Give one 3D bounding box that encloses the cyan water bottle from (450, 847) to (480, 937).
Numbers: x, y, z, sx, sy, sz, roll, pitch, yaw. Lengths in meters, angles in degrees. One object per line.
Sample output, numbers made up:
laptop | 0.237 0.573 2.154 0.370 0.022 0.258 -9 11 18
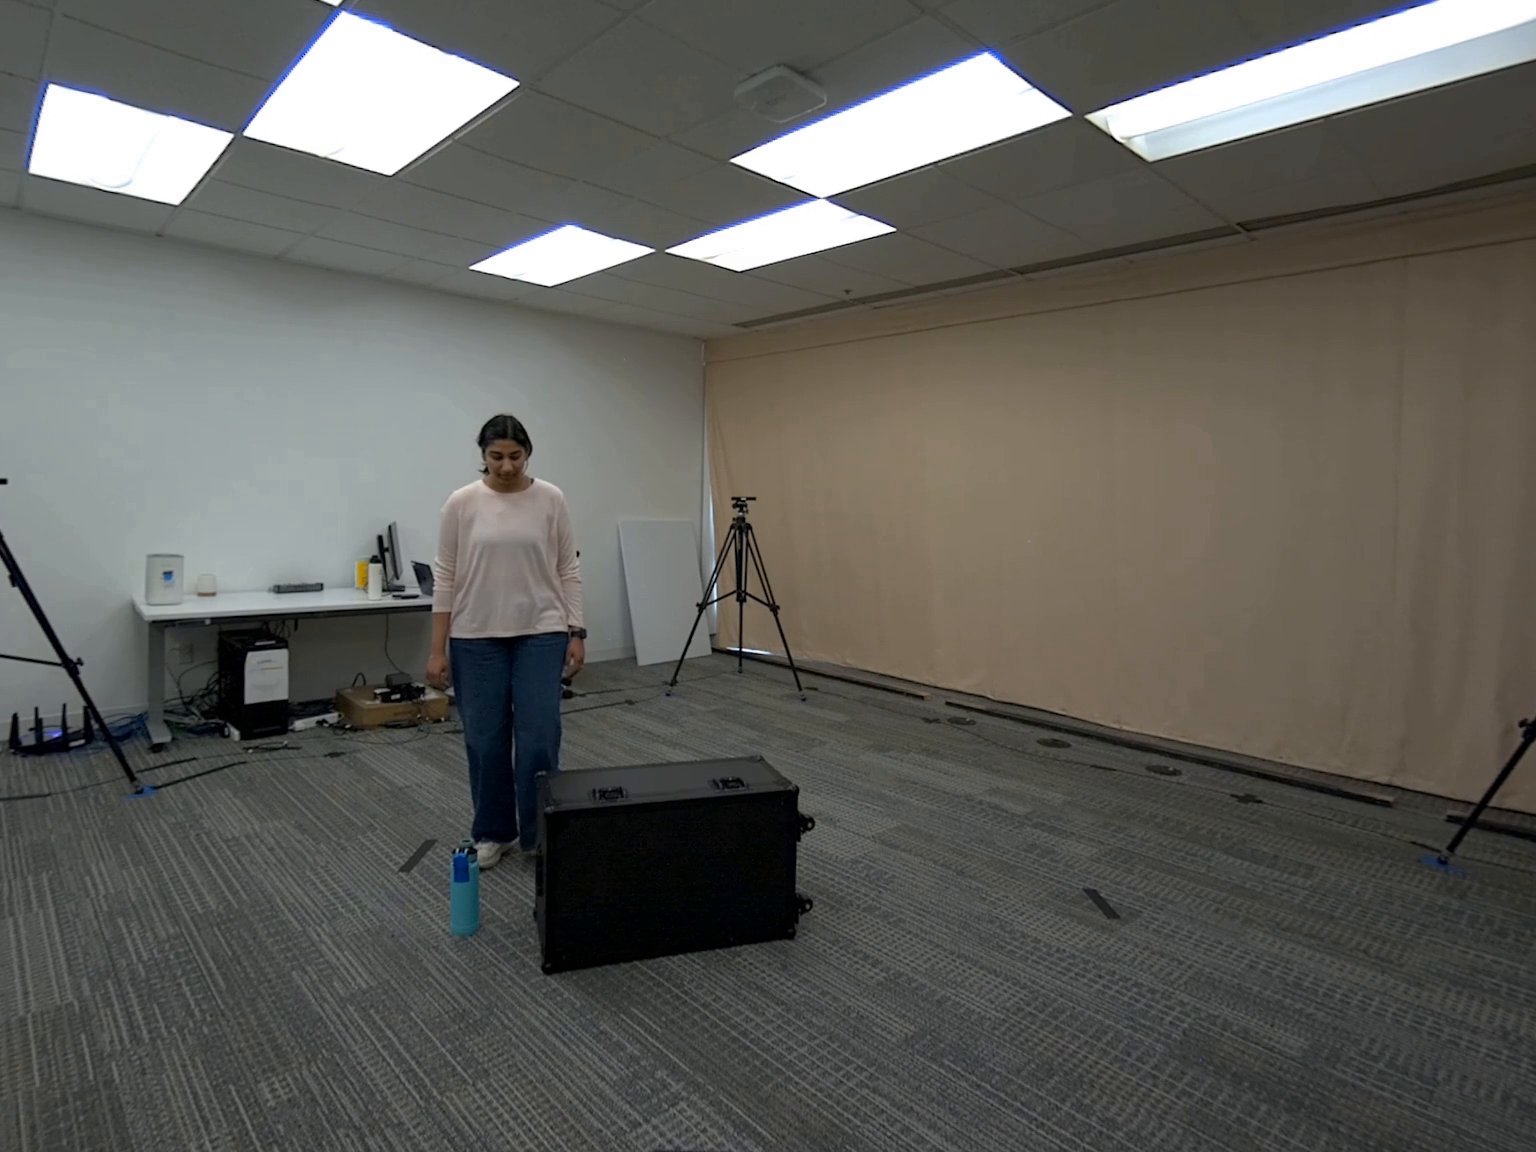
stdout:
cyan water bottle | -0.968 0.985 2.677 0.092 0.282 0.093 3 5 -2
